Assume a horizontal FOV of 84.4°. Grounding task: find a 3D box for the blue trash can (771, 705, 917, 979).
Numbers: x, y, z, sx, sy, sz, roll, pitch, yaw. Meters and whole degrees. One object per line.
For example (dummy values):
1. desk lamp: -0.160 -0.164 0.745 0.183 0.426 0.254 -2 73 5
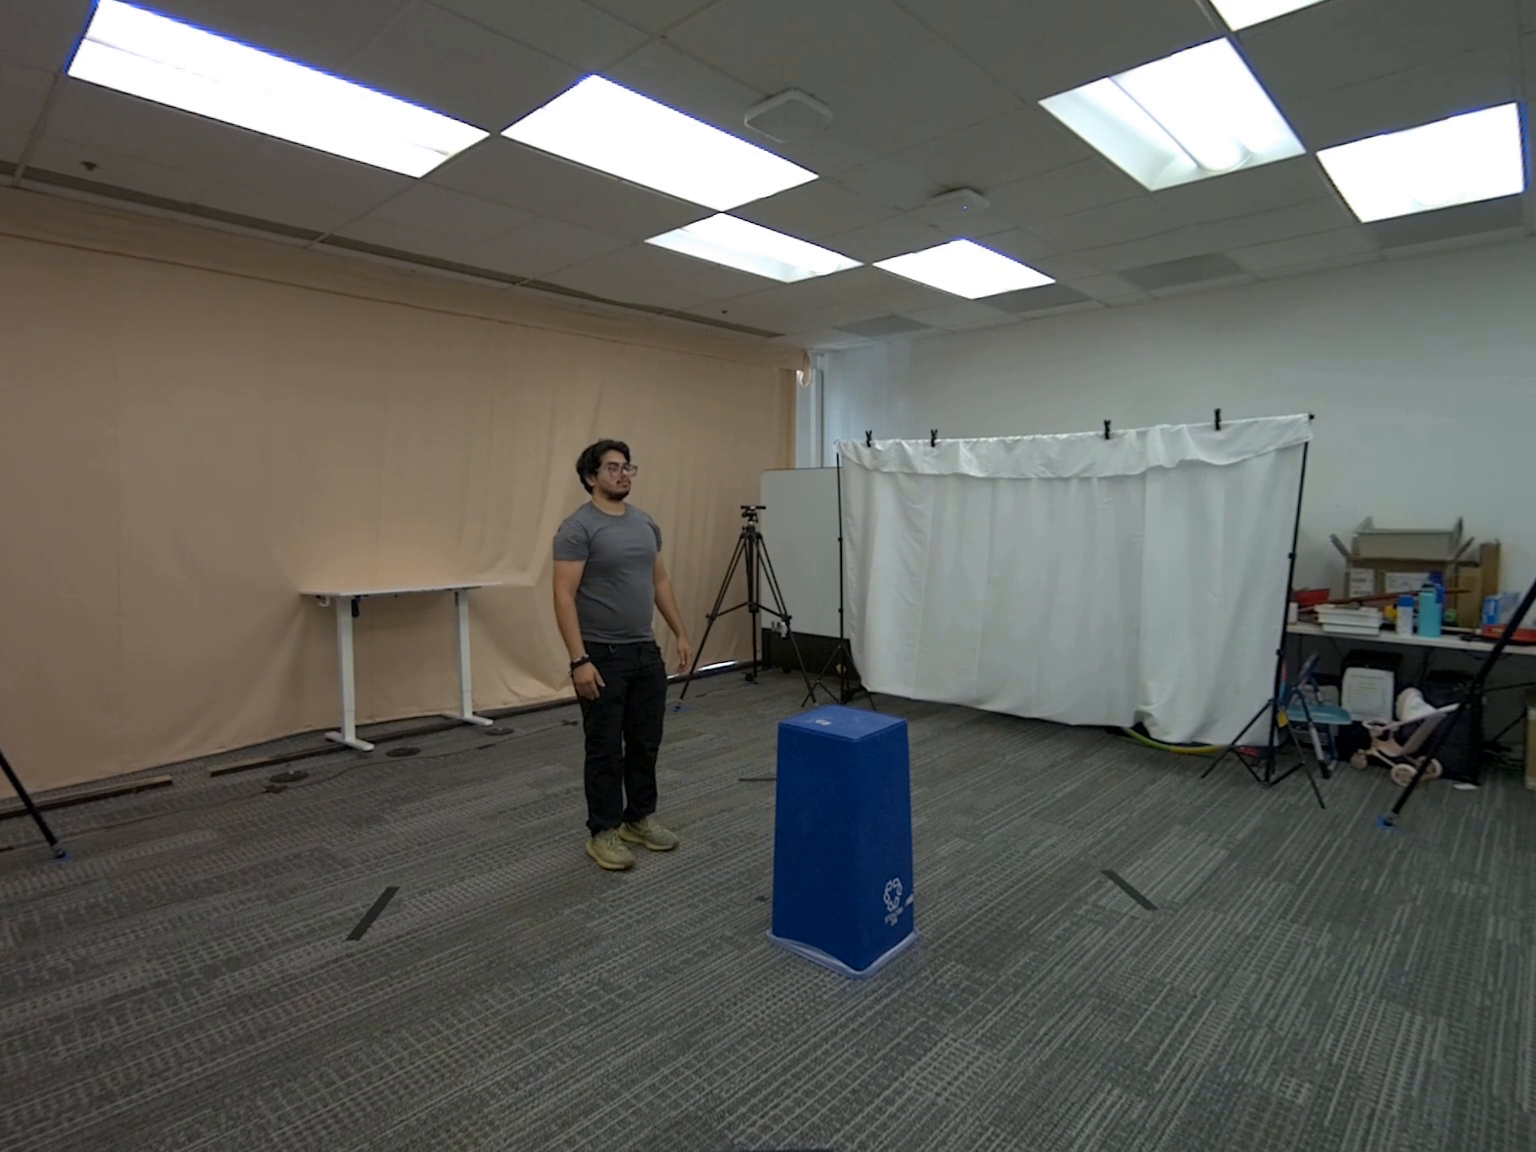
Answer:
1. blue trash can: 0.236 0.816 2.689 0.390 0.712 0.363 2 5 42
